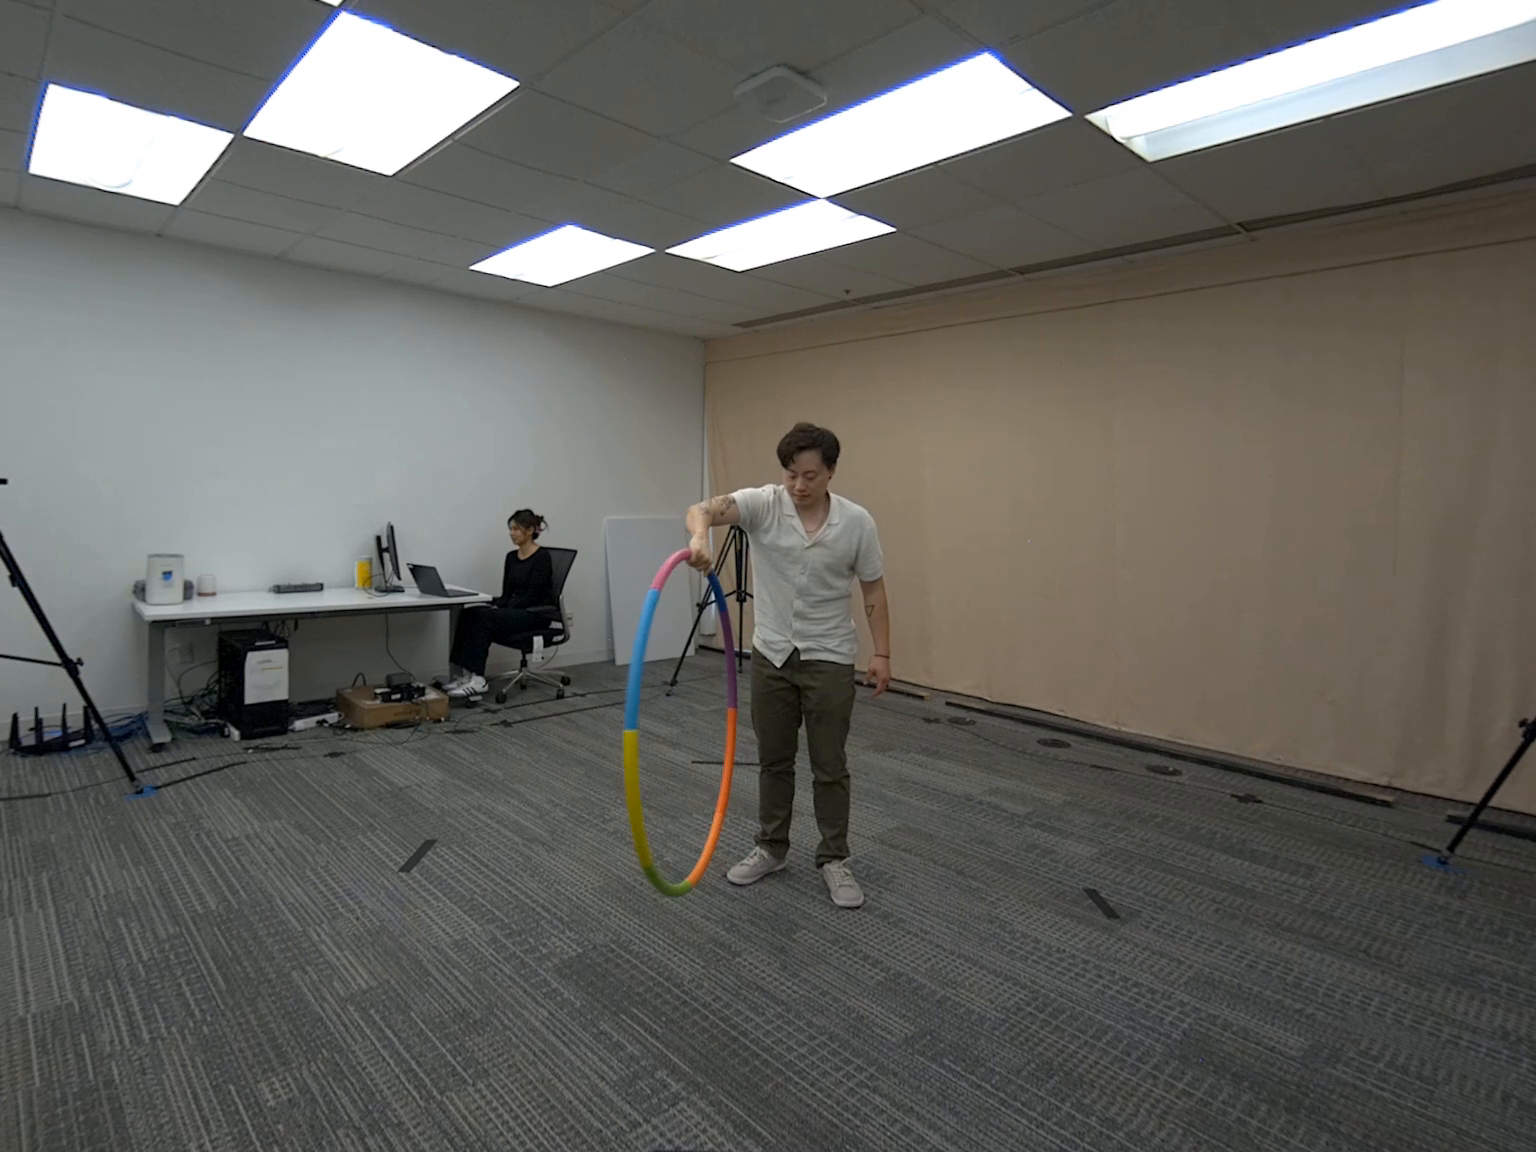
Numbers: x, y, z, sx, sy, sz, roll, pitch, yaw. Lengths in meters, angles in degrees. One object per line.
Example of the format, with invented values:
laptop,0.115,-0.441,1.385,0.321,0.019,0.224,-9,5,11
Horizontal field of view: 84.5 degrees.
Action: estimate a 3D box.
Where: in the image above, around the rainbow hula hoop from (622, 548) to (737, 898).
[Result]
rainbow hula hoop,-0.228,0.418,2.486,0.036,0.976,0.970,-1,3,13
